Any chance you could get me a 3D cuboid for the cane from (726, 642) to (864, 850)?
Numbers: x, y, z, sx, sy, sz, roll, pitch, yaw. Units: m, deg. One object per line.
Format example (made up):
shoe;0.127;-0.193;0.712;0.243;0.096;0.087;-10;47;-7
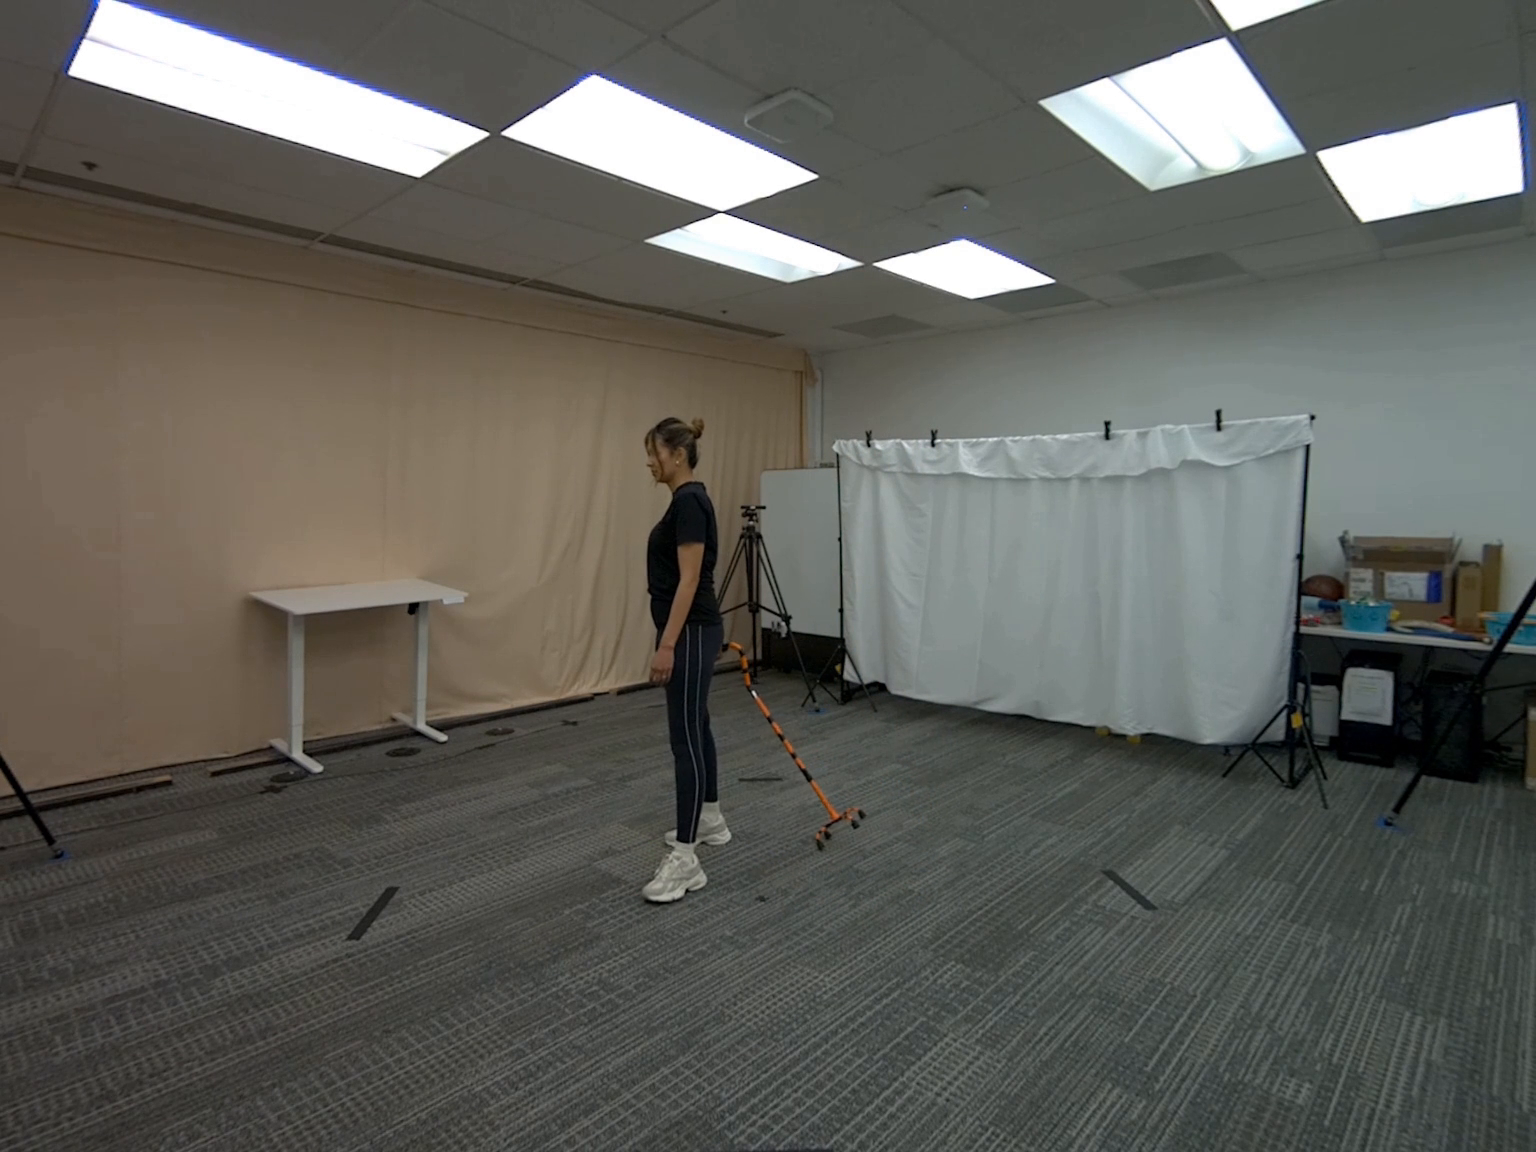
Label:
cane;0.059;0.675;3.512;0.208;0.919;0.148;-37;-11;16
